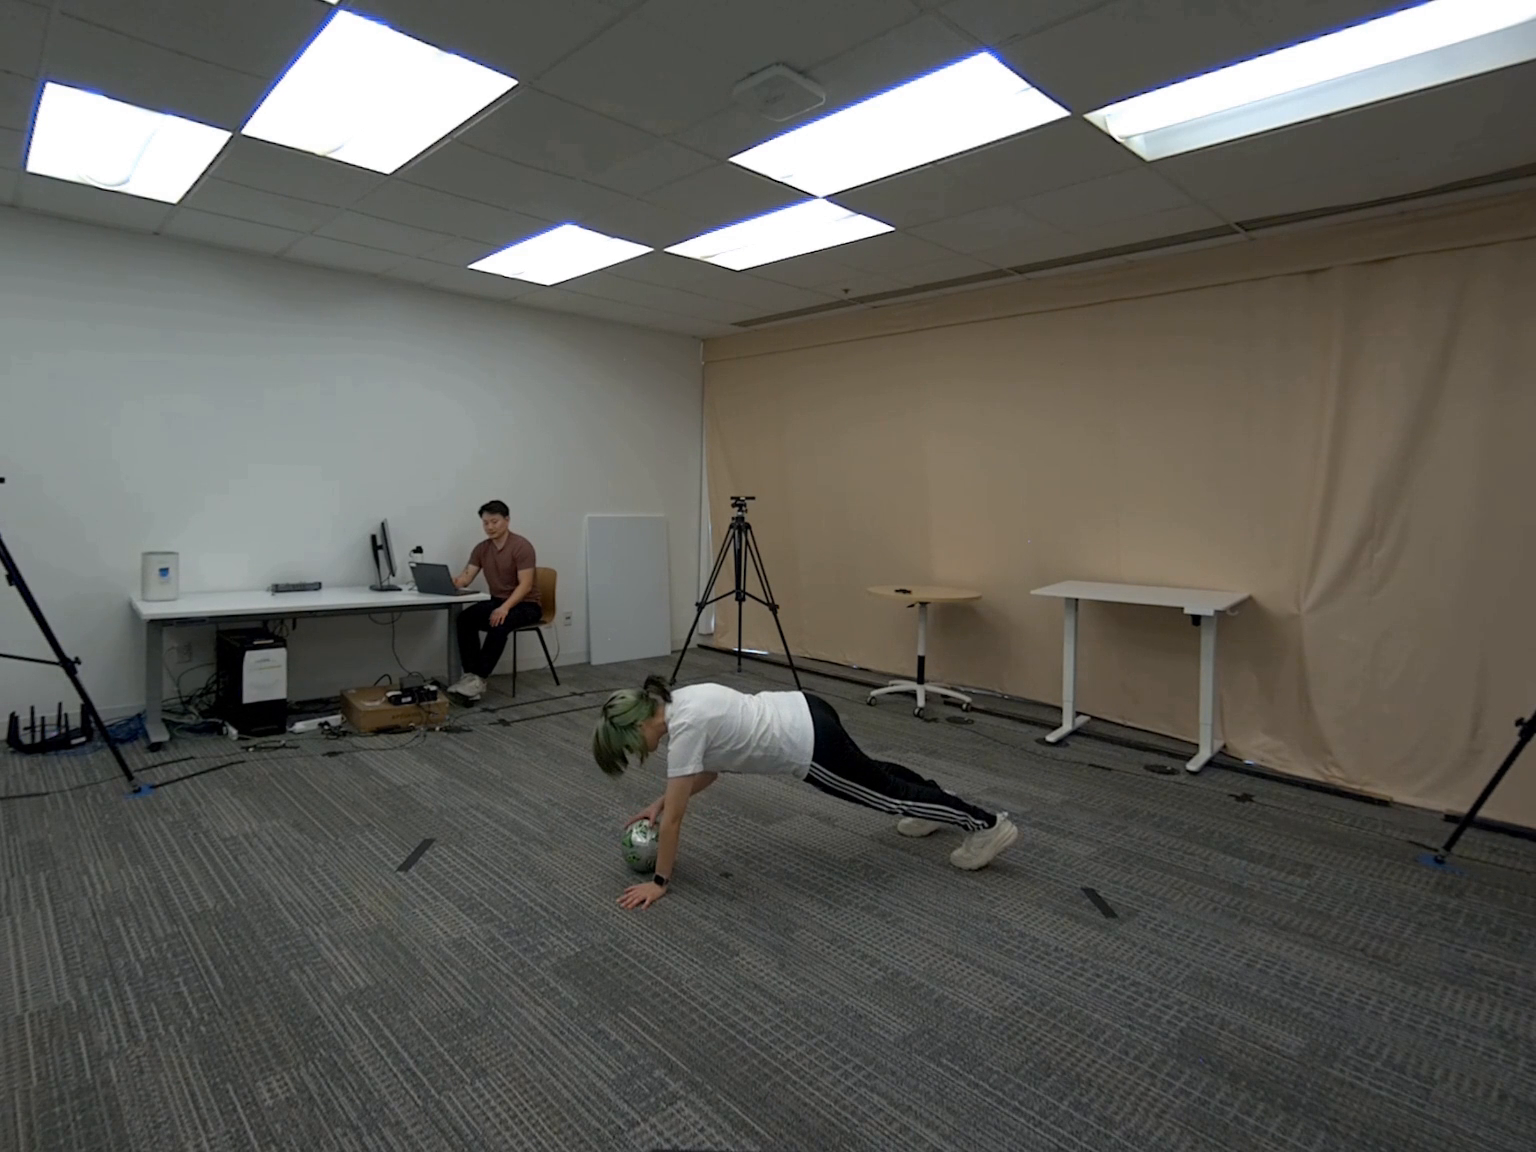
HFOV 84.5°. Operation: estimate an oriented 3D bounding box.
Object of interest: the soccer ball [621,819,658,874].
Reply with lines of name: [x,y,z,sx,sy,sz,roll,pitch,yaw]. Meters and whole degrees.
soccer ball: [-0.458,0.993,3.146,0.187,0.187,0.188,1,4,-1]
